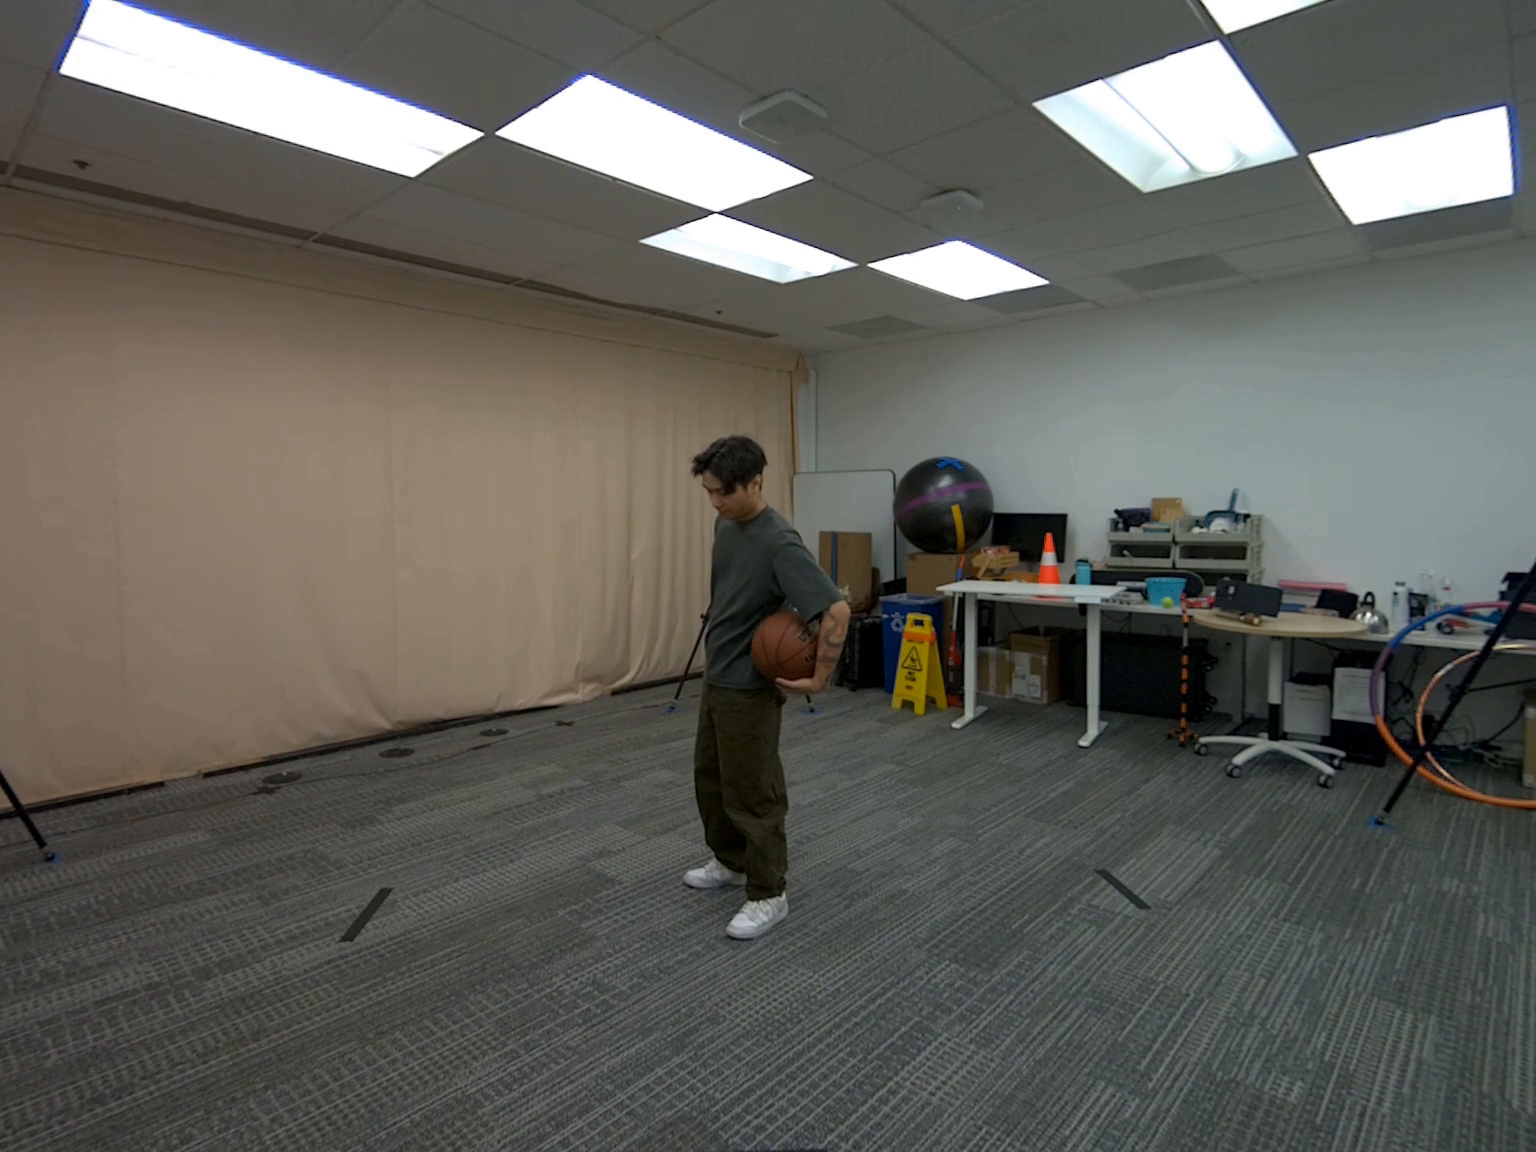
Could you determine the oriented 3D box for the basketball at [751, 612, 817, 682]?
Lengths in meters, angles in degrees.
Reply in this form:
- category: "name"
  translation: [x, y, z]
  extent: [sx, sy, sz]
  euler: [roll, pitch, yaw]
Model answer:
- category: "basketball"
  translation: [0.071, 0.224, 2.654]
  extent: [0.236, 0.235, 0.237]
  euler: [0, 4, -2]
